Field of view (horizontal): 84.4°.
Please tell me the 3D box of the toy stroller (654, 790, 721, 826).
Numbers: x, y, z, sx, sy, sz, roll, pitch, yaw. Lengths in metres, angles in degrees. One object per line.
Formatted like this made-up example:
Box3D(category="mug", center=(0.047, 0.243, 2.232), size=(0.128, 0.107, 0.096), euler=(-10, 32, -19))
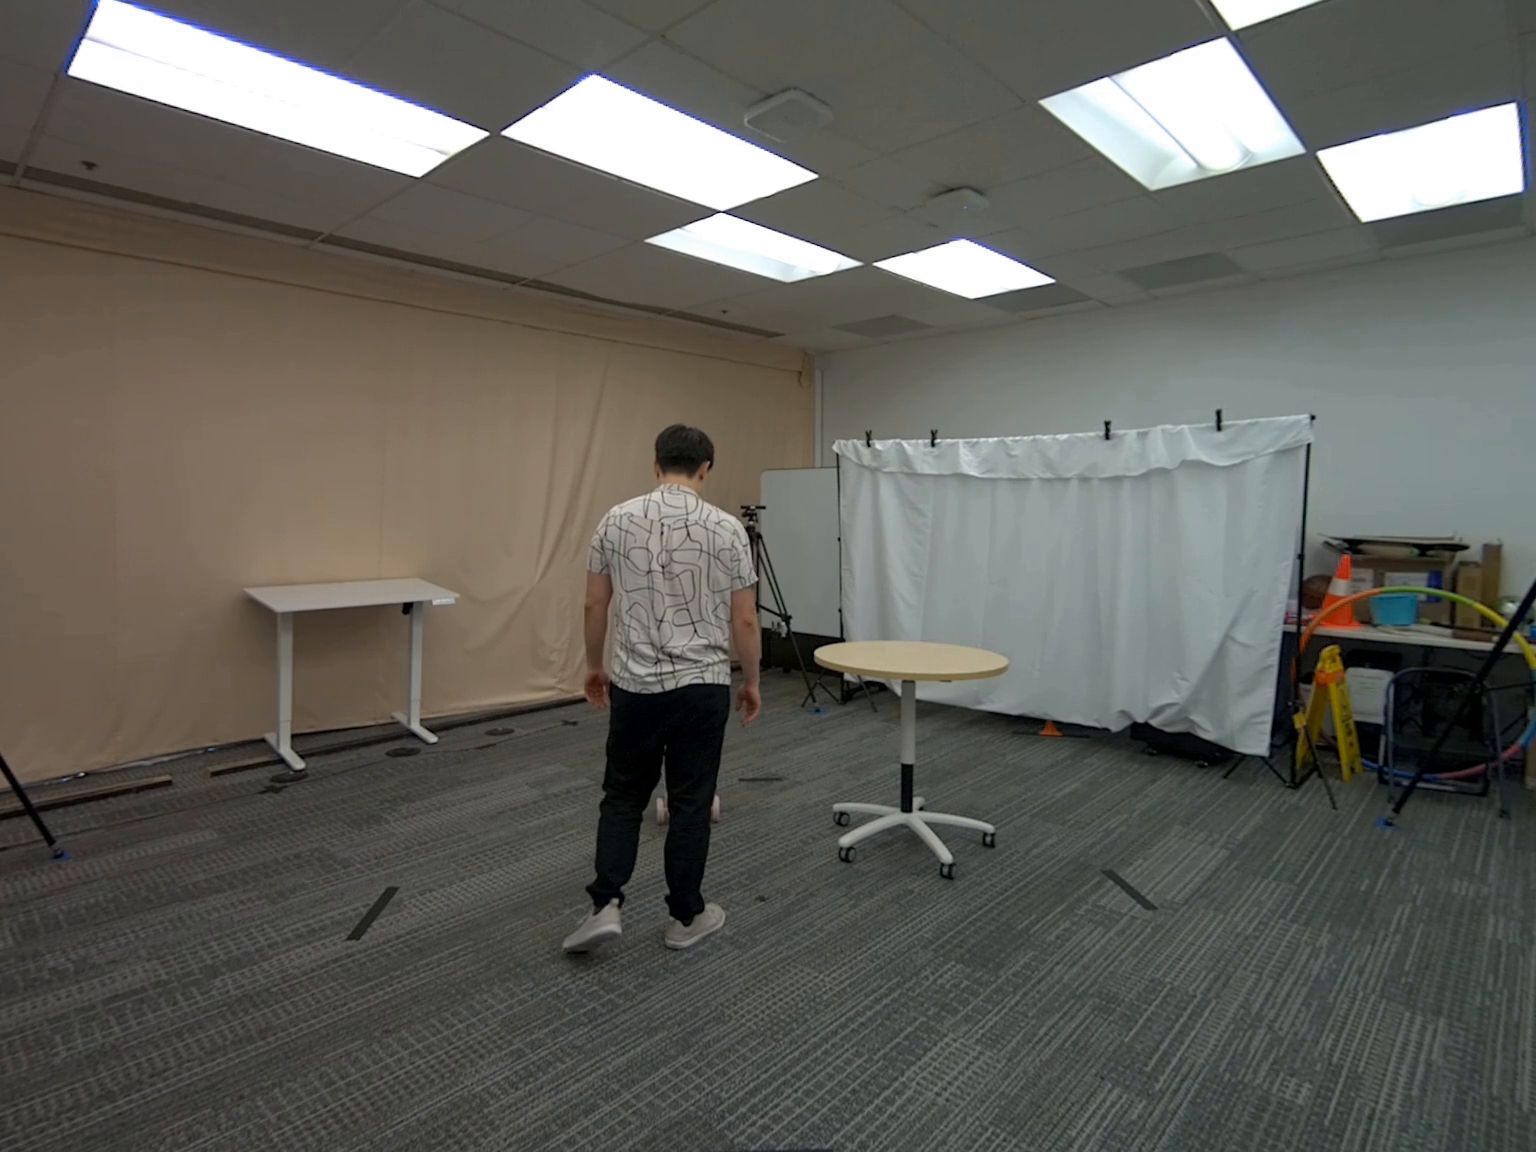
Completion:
Box3D(category="toy stroller", center=(-0.363, 0.859, 3.773), size=(0.281, 0.529, 0.345), euler=(0, 18, -2))
